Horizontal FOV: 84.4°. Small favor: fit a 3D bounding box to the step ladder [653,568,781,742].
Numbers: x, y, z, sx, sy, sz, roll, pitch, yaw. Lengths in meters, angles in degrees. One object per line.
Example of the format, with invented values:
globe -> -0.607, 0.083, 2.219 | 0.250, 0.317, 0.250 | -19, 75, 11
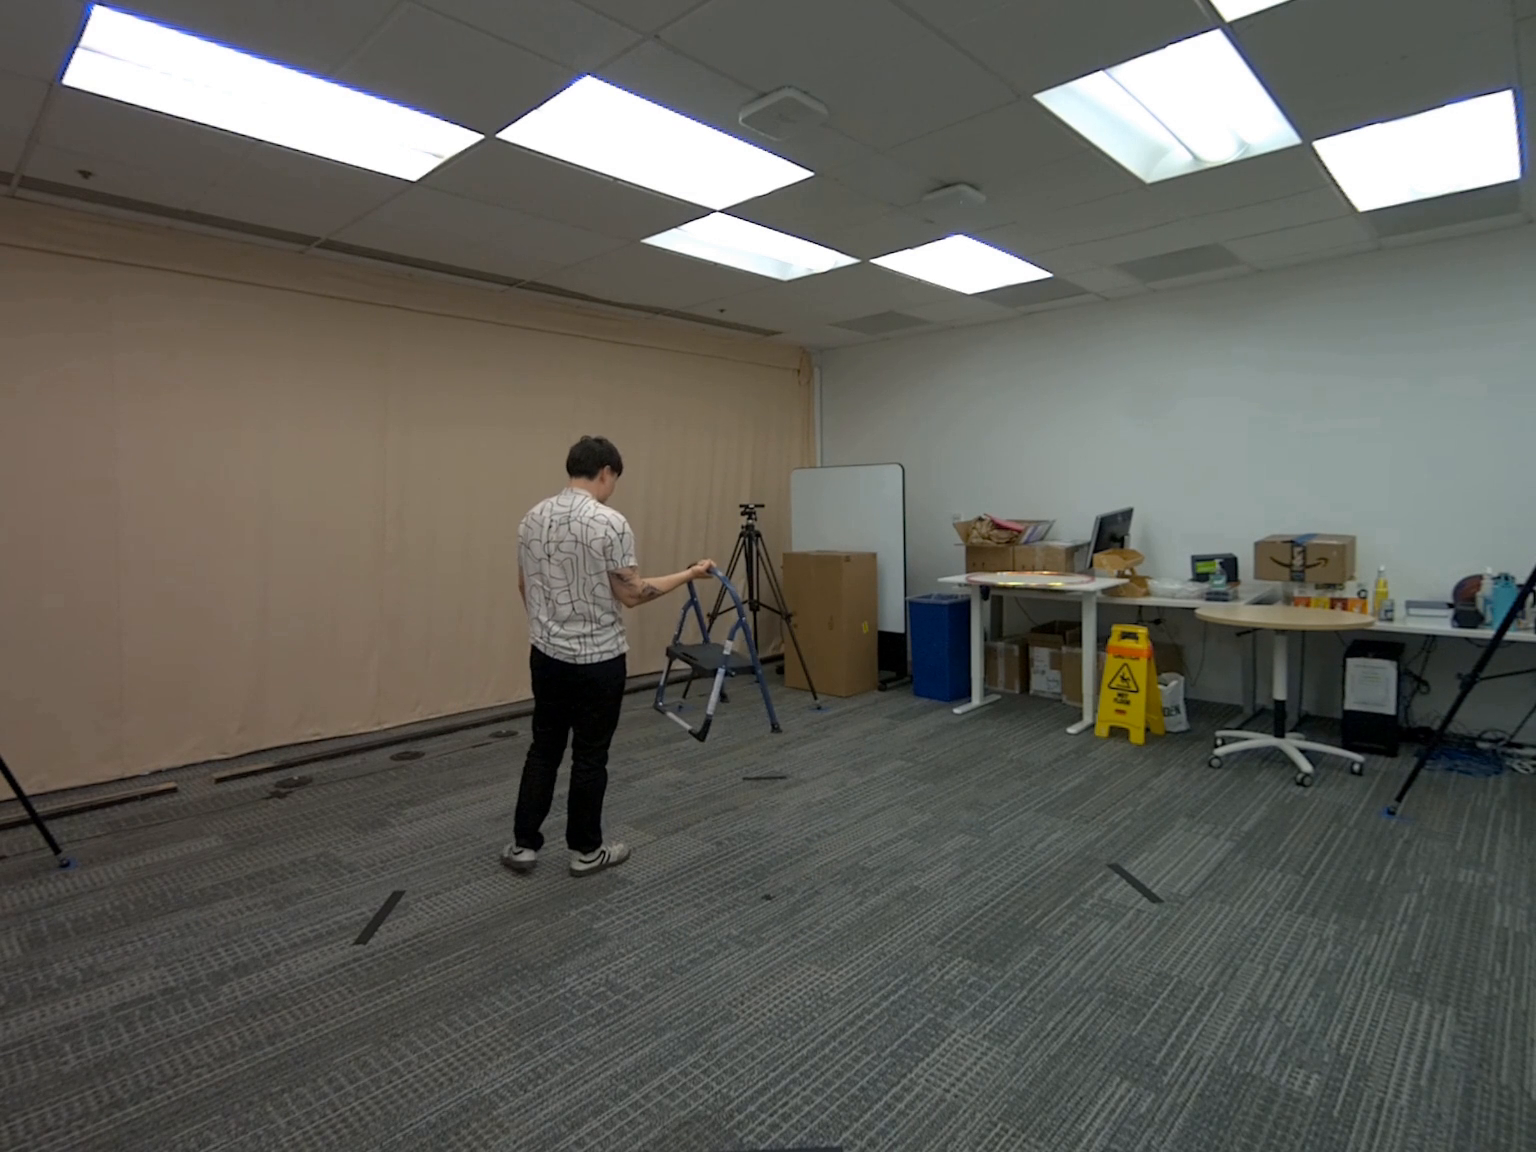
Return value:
step ladder -> -0.190, 0.258, 3.205 | 0.340, 0.604, 0.444 | -1, 8, -31
